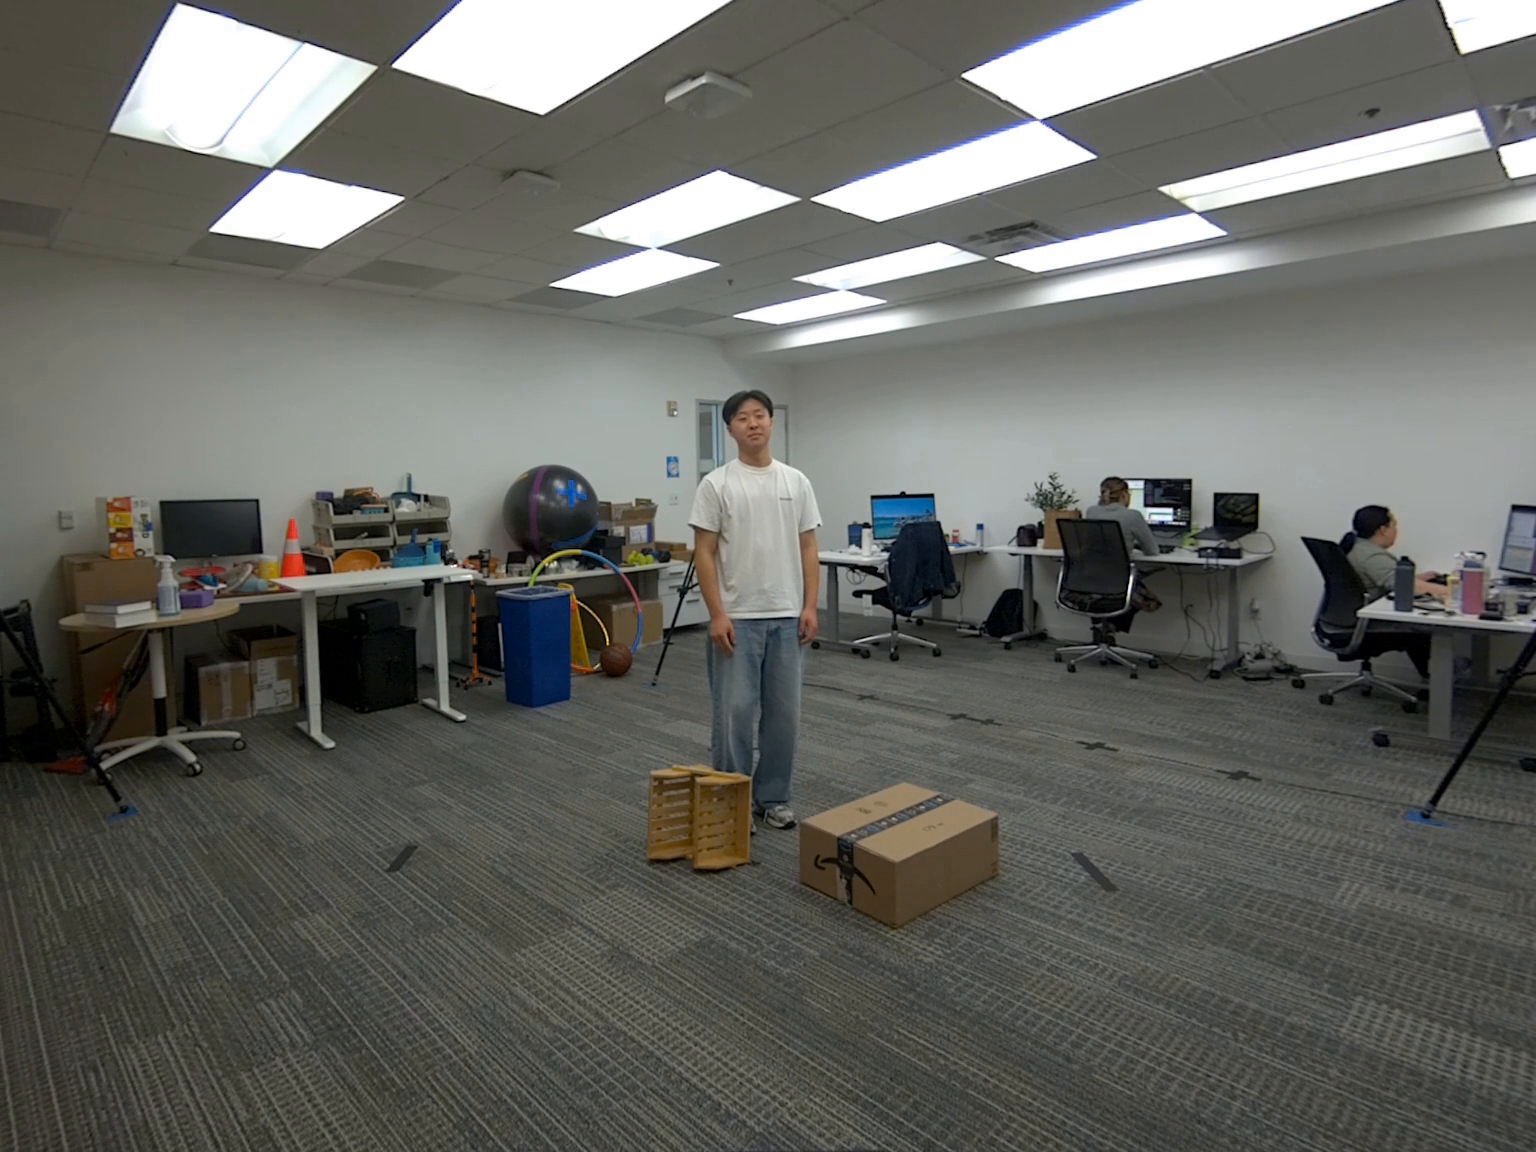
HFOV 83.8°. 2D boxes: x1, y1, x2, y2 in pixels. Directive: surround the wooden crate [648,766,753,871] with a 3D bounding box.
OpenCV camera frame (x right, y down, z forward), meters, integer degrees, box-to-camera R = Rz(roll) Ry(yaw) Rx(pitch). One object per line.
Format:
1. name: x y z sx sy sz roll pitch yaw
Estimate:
1. wooden crate: -0.253 0.880 3.125 0.293 0.325 0.281 2 -2 -38
